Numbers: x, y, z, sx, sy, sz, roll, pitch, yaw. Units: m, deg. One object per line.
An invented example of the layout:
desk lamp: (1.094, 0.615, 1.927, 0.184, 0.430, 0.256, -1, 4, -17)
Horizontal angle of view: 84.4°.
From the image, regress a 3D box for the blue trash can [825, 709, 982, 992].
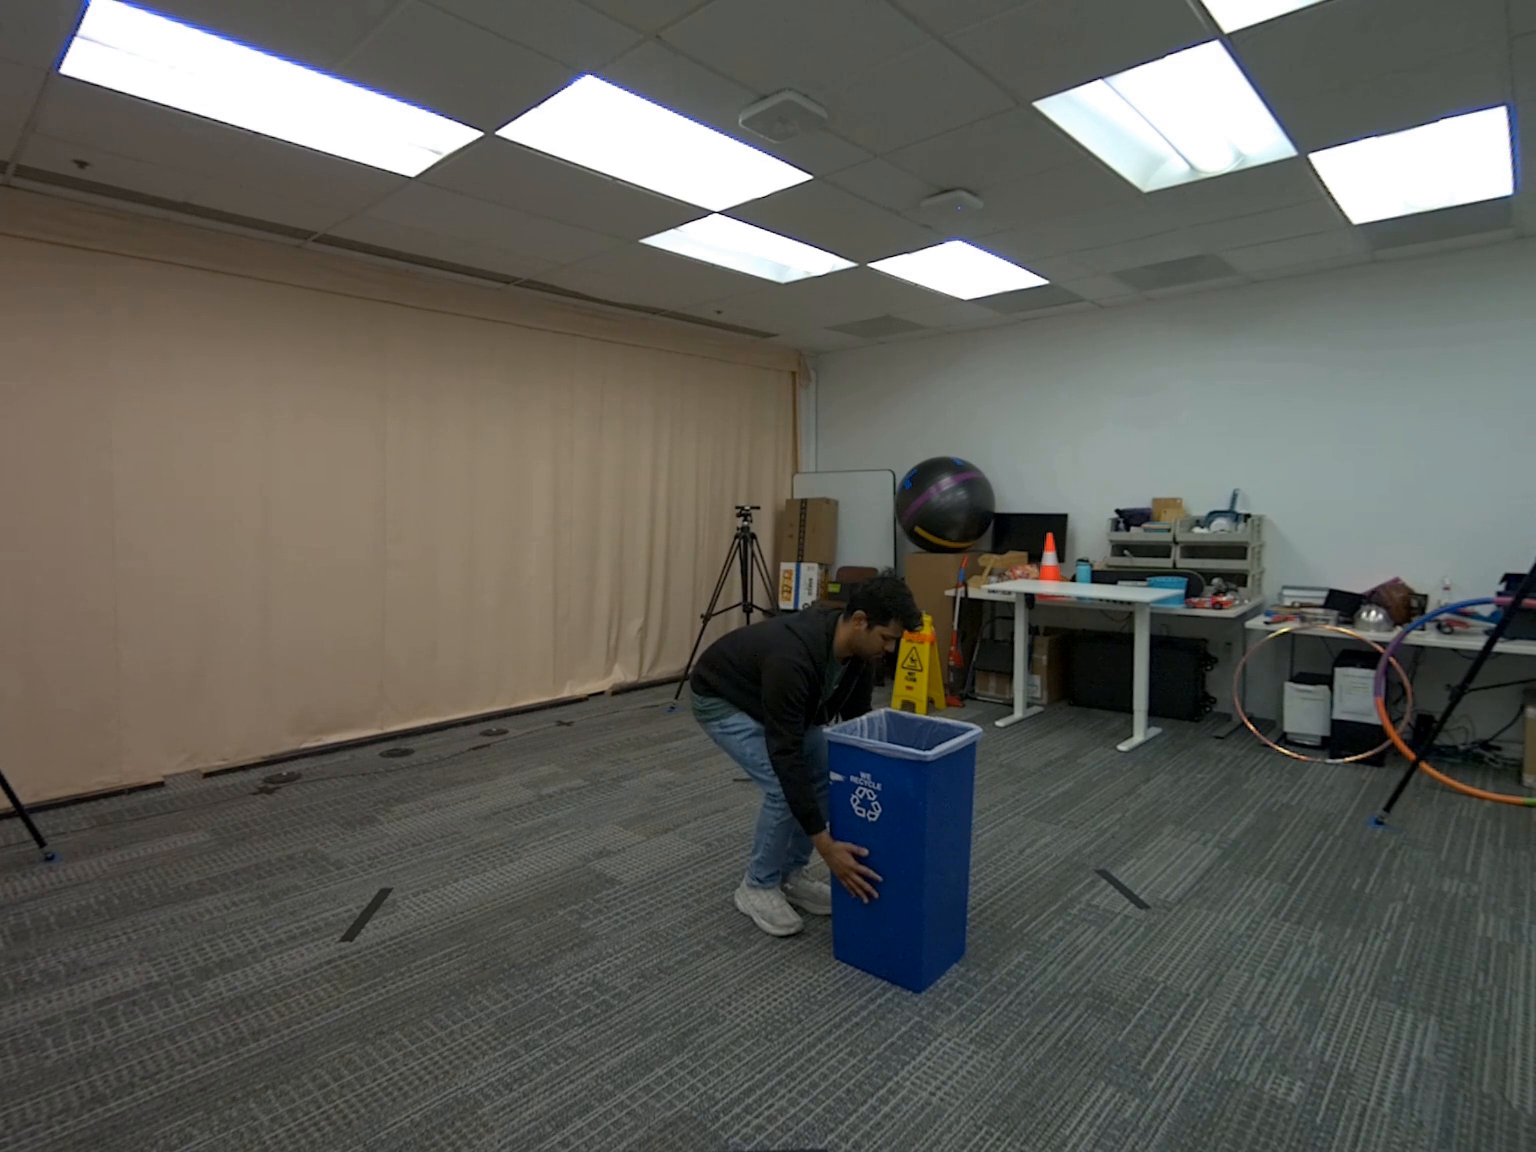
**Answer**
blue trash can: (0.424, 0.823, 2.576, 0.386, 0.712, 0.367, 2, 5, 39)
